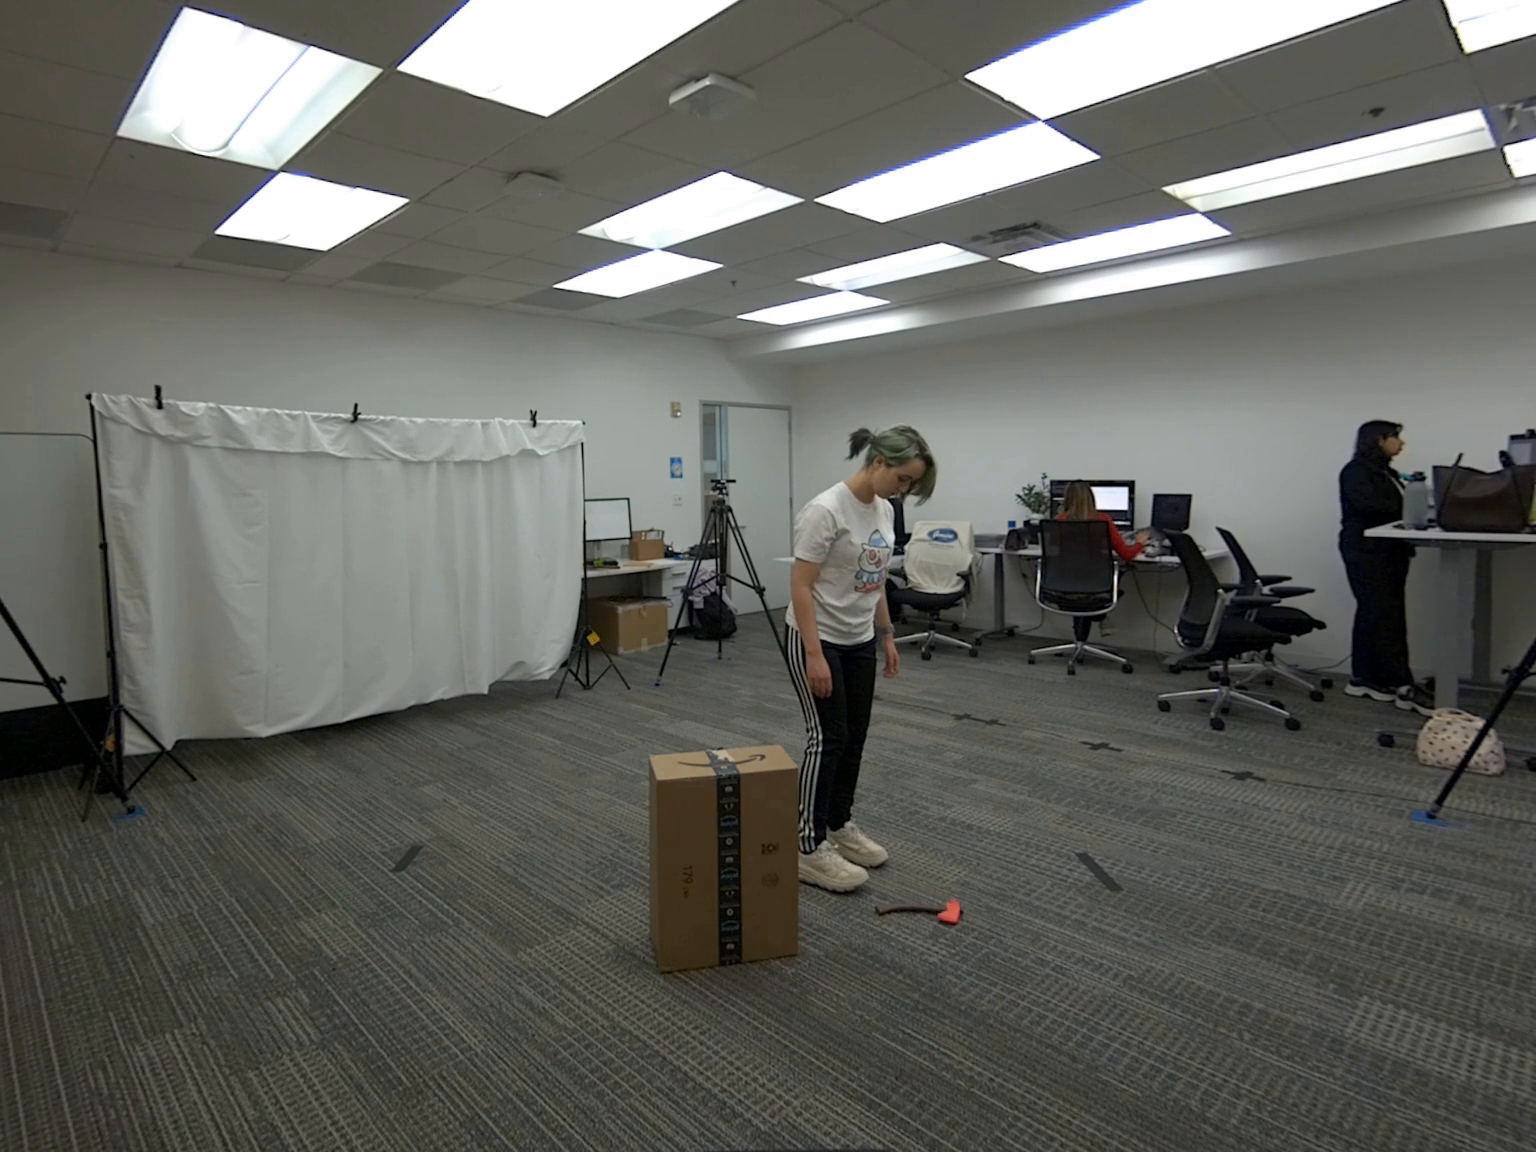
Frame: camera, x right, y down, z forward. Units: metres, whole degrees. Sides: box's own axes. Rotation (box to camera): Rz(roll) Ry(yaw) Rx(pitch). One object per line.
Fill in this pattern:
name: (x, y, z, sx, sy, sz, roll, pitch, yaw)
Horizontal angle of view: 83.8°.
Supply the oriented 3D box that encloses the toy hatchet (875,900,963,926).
toy hatchet: (0.492, 1.074, 2.705, 0.269, 0.029, 0.133, -4, 10, -5)
